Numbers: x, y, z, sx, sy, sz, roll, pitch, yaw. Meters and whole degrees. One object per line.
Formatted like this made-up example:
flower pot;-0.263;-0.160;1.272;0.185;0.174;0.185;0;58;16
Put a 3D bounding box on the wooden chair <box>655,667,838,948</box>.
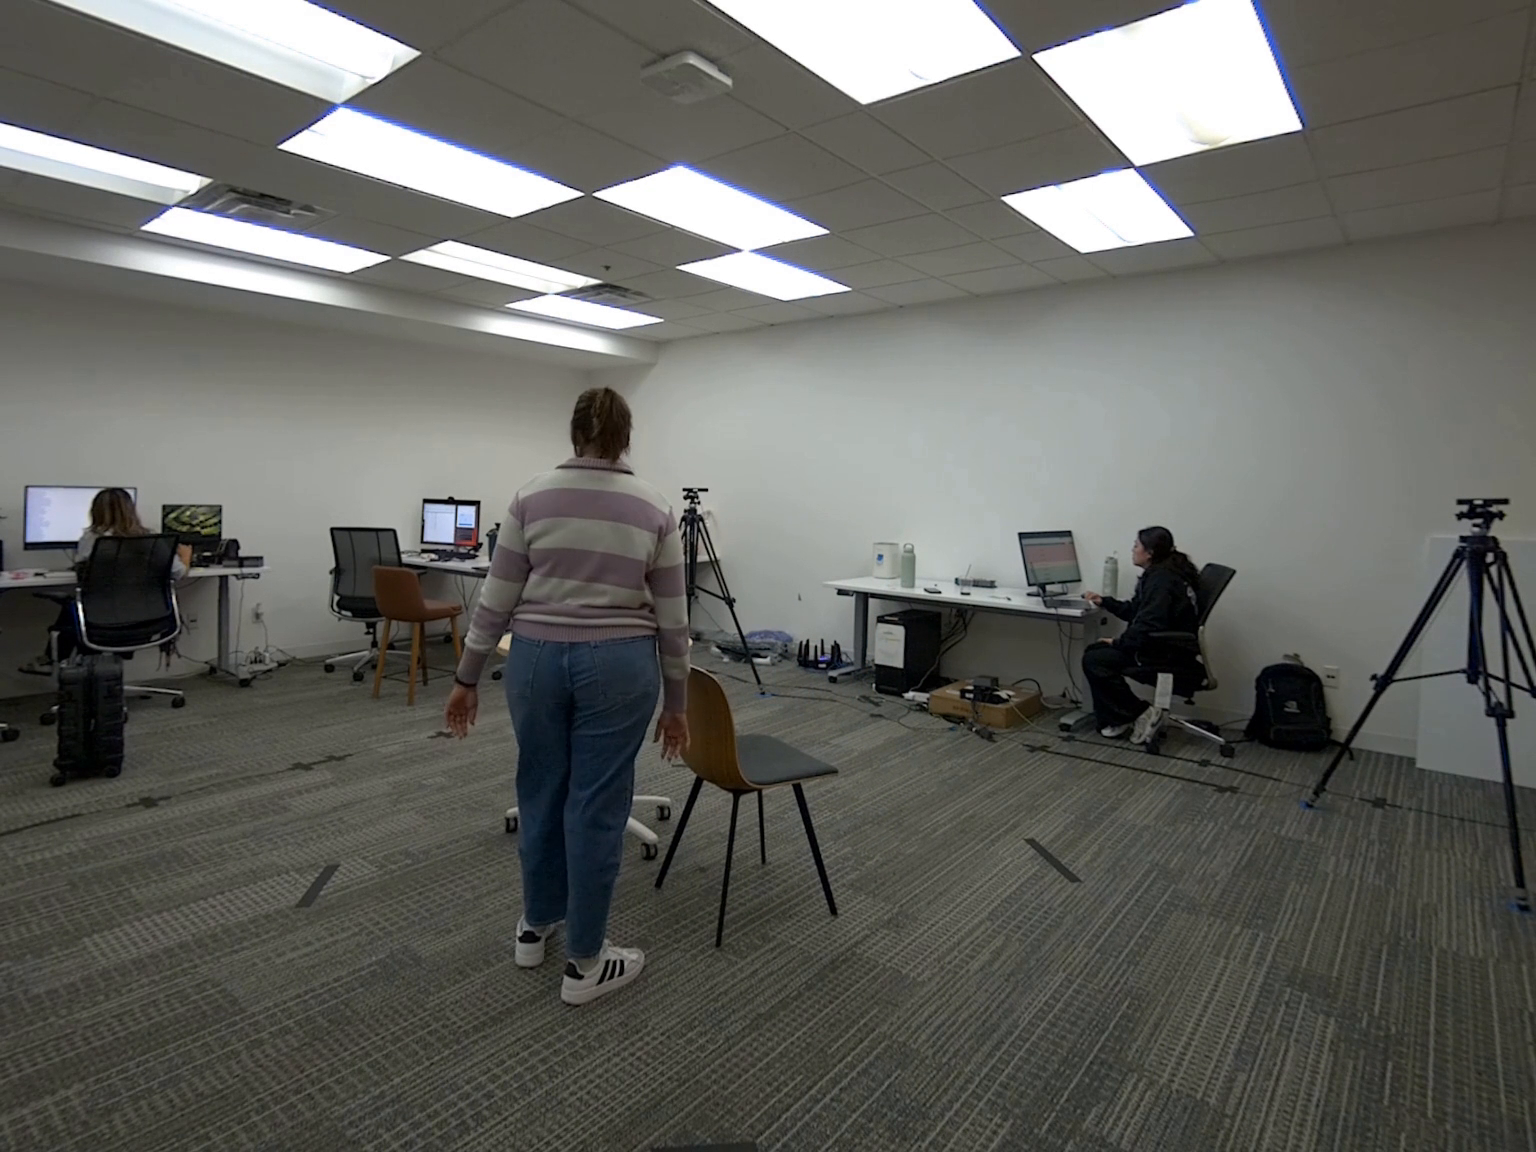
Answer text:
wooden chair;-0.073;0.670;2.853;0.510;0.873;0.493;-5;6;-31
